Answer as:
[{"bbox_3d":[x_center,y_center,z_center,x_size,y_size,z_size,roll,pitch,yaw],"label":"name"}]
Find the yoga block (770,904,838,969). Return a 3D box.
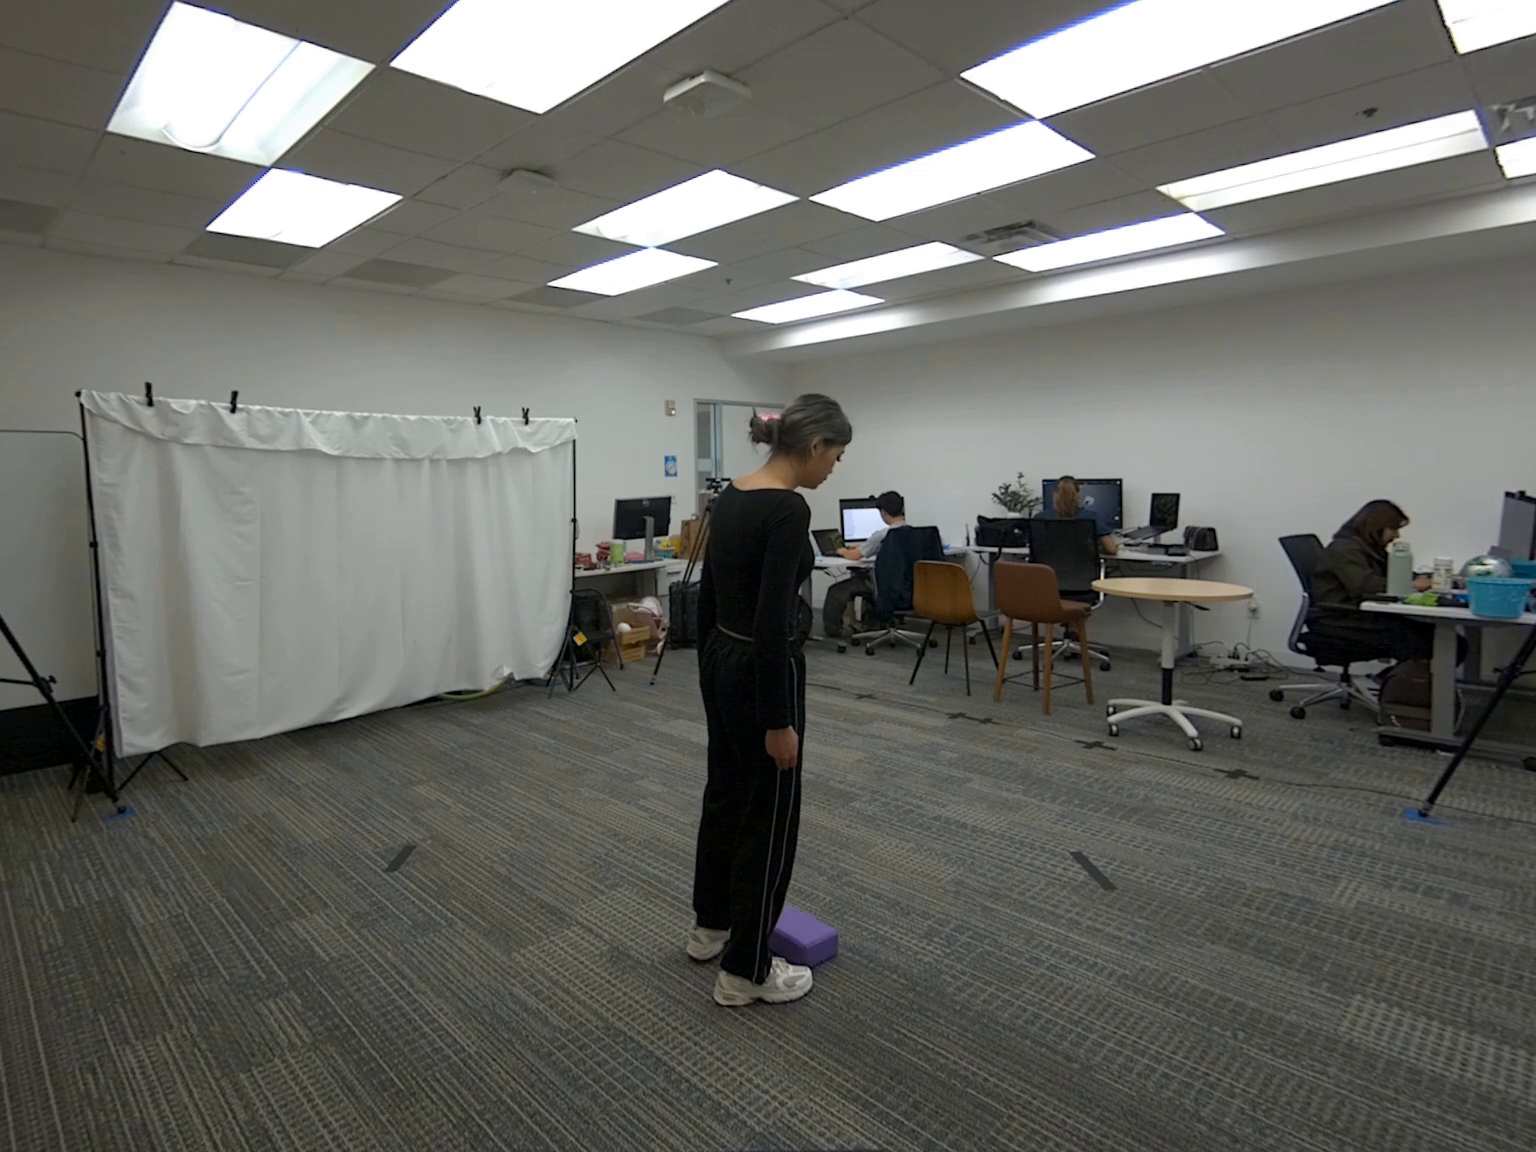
[{"bbox_3d":[0.083,1.061,2.532,0.145,0.076,0.237,-3,7,-42],"label":"yoga block"}]
